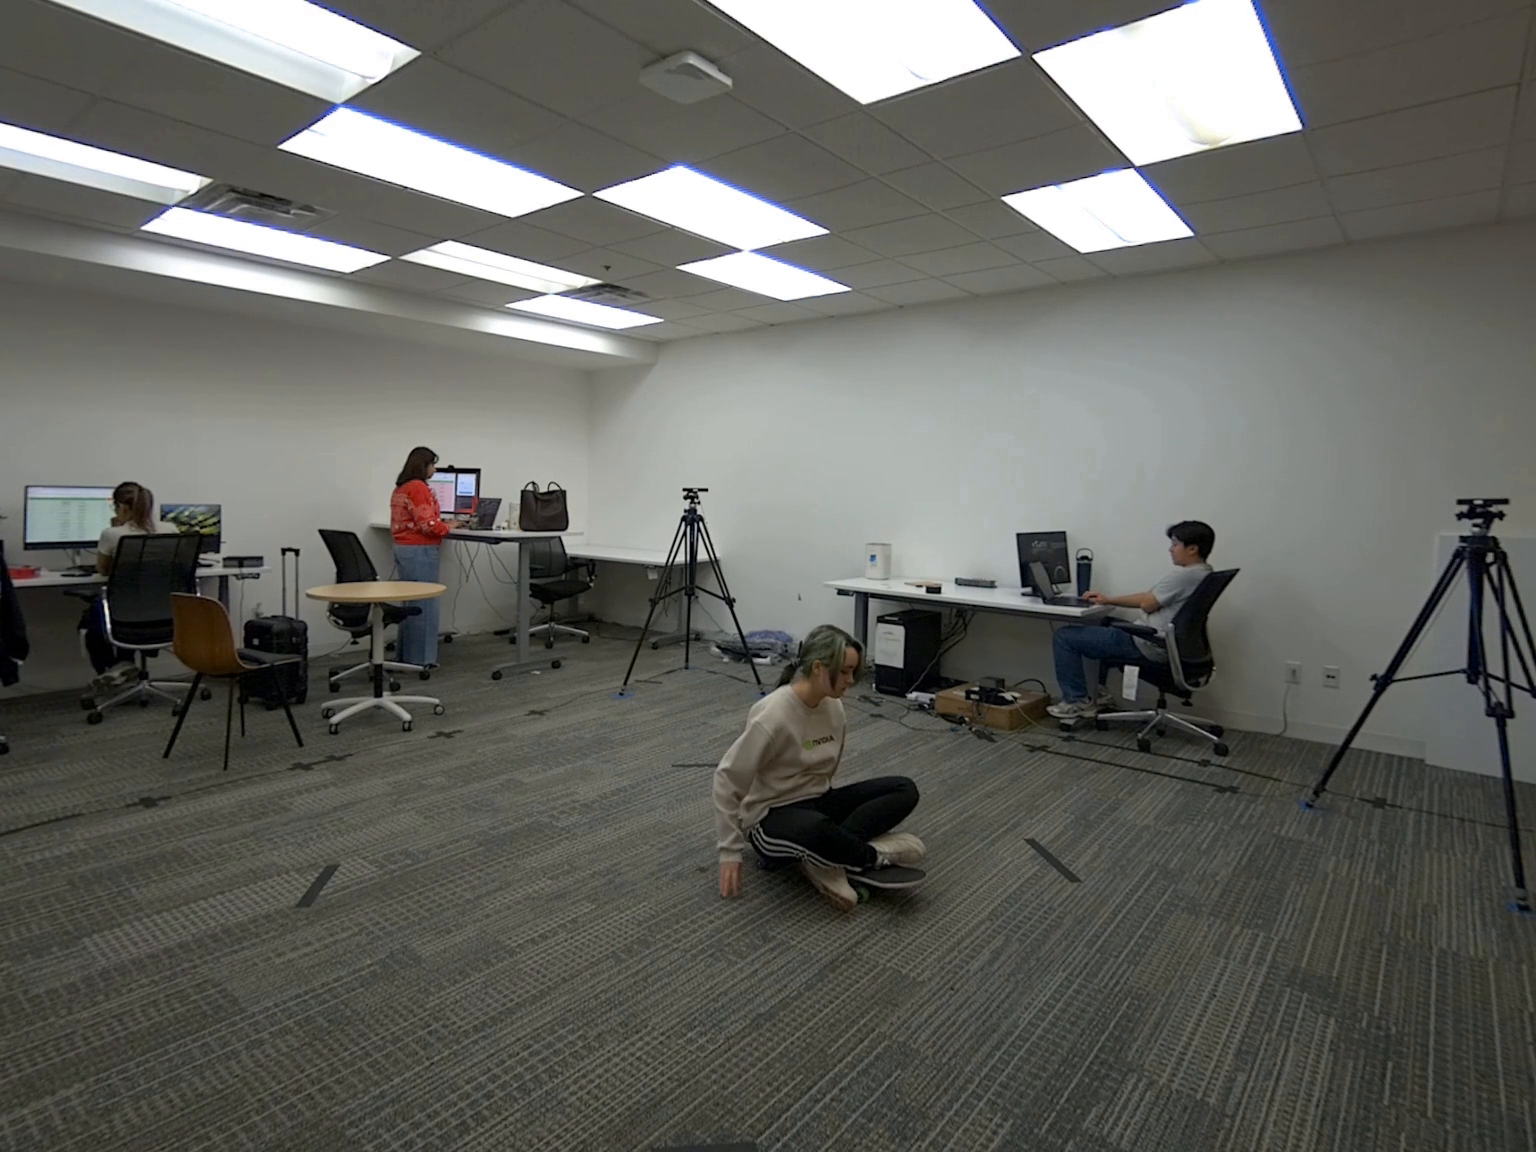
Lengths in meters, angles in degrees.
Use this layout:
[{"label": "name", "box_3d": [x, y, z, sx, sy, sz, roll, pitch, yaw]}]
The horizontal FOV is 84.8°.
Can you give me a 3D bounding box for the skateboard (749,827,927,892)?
[{"label": "skateboard", "box_3d": [0.201, 1.031, 3.069, 0.807, 0.110, 0.188, 2, 2, 29]}]
